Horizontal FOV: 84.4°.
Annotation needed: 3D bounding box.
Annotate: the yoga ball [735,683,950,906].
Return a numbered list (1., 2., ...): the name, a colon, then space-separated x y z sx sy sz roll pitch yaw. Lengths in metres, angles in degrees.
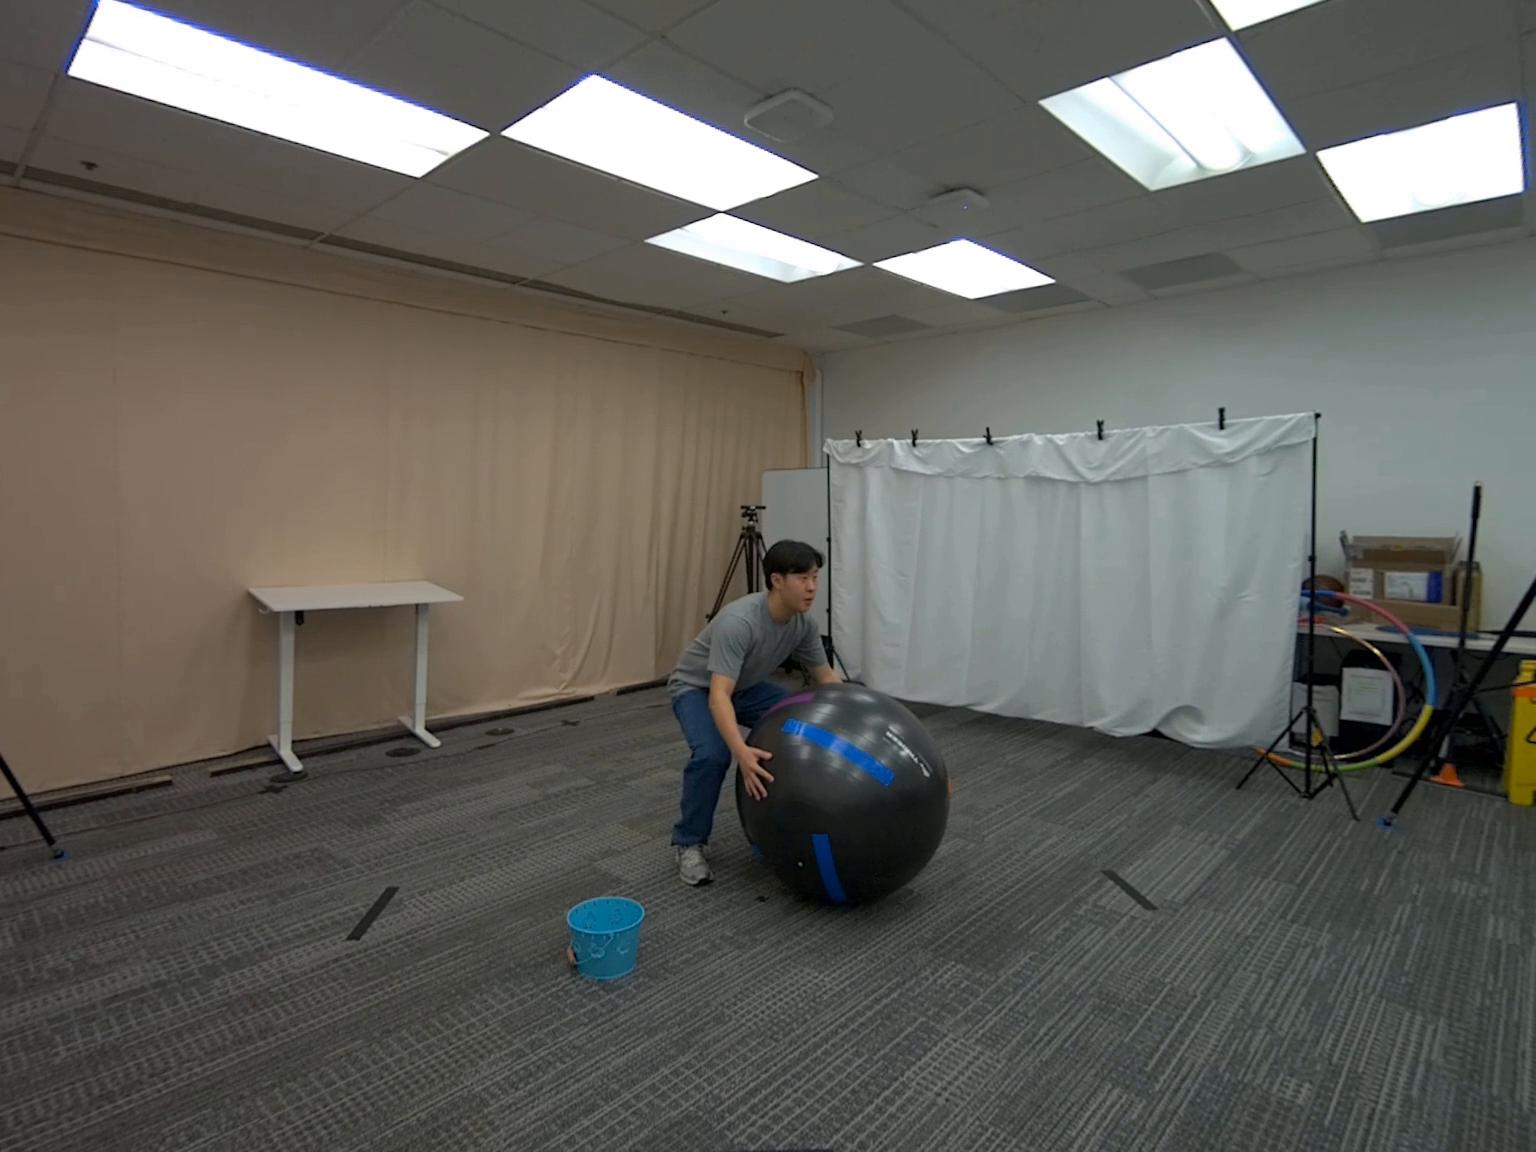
1. yoga ball: 0.280 0.761 3.019 0.757 0.756 0.760 0 4 -2
